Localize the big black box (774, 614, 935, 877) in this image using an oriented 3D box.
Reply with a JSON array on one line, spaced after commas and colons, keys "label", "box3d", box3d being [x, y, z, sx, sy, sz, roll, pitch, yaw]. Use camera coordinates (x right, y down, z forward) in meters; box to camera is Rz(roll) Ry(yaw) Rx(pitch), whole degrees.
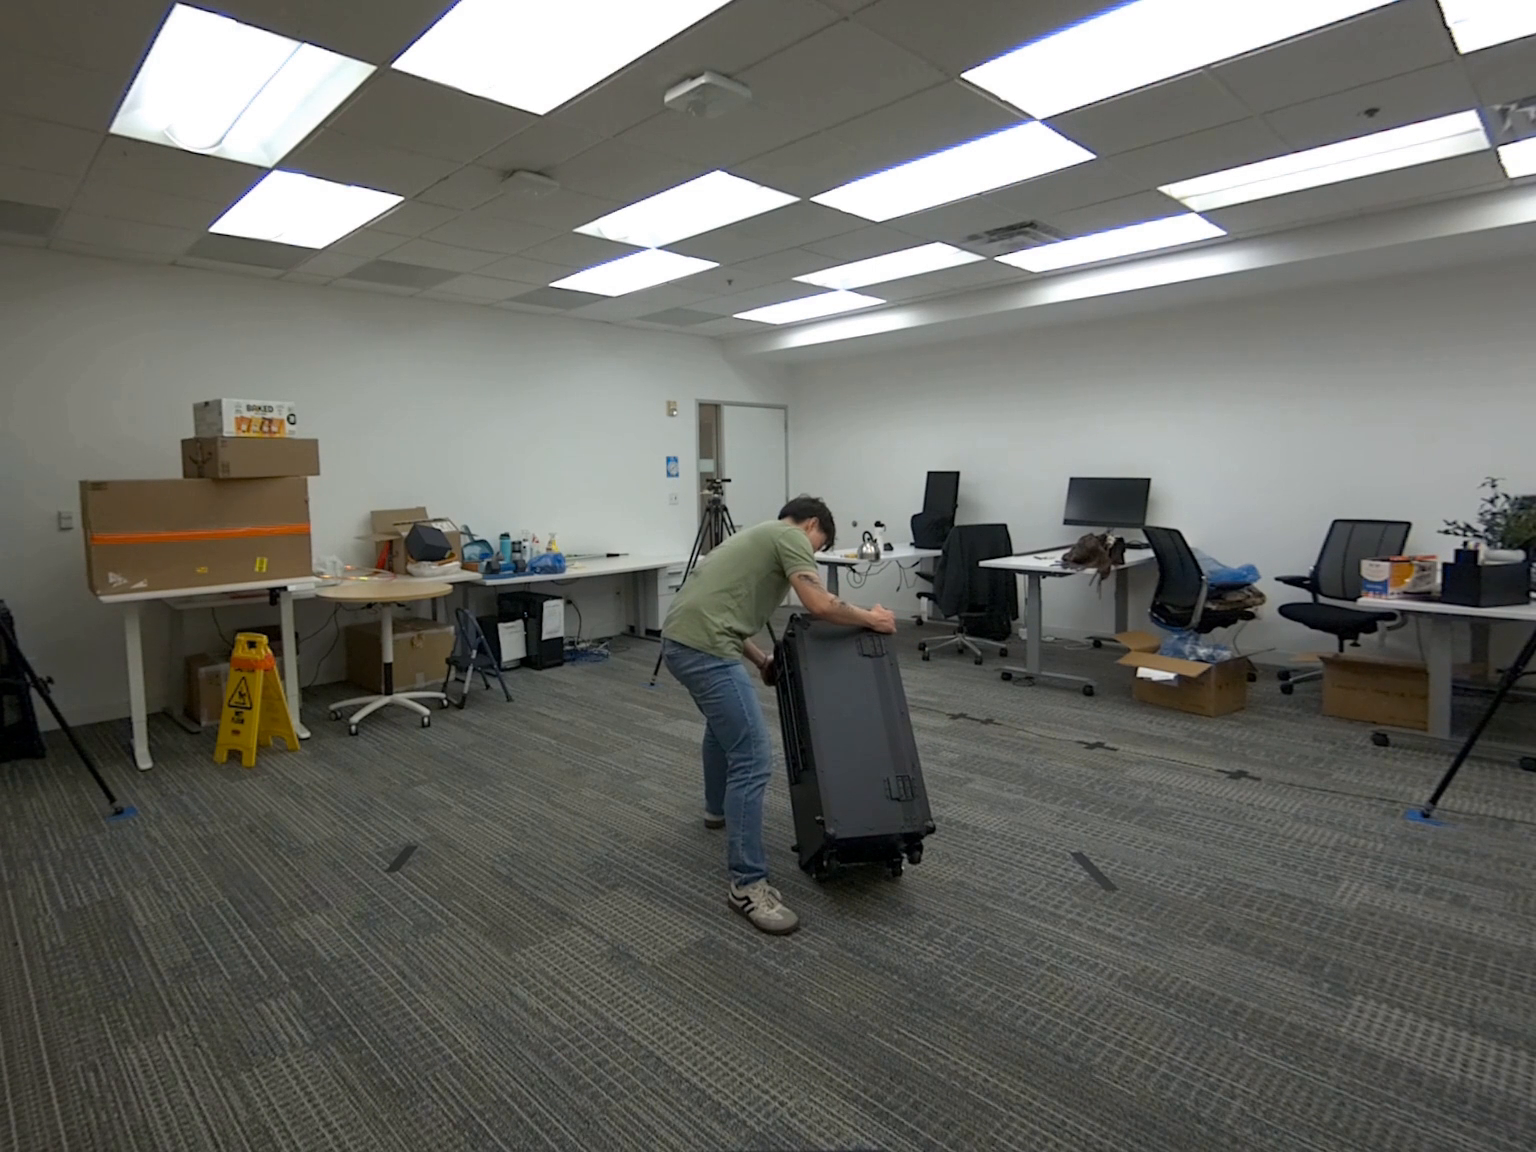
[{"label": "big black box", "box3d": [0.270, 0.613, 3.048, 0.393, 0.885, 0.511, -3, -30, -9]}]
